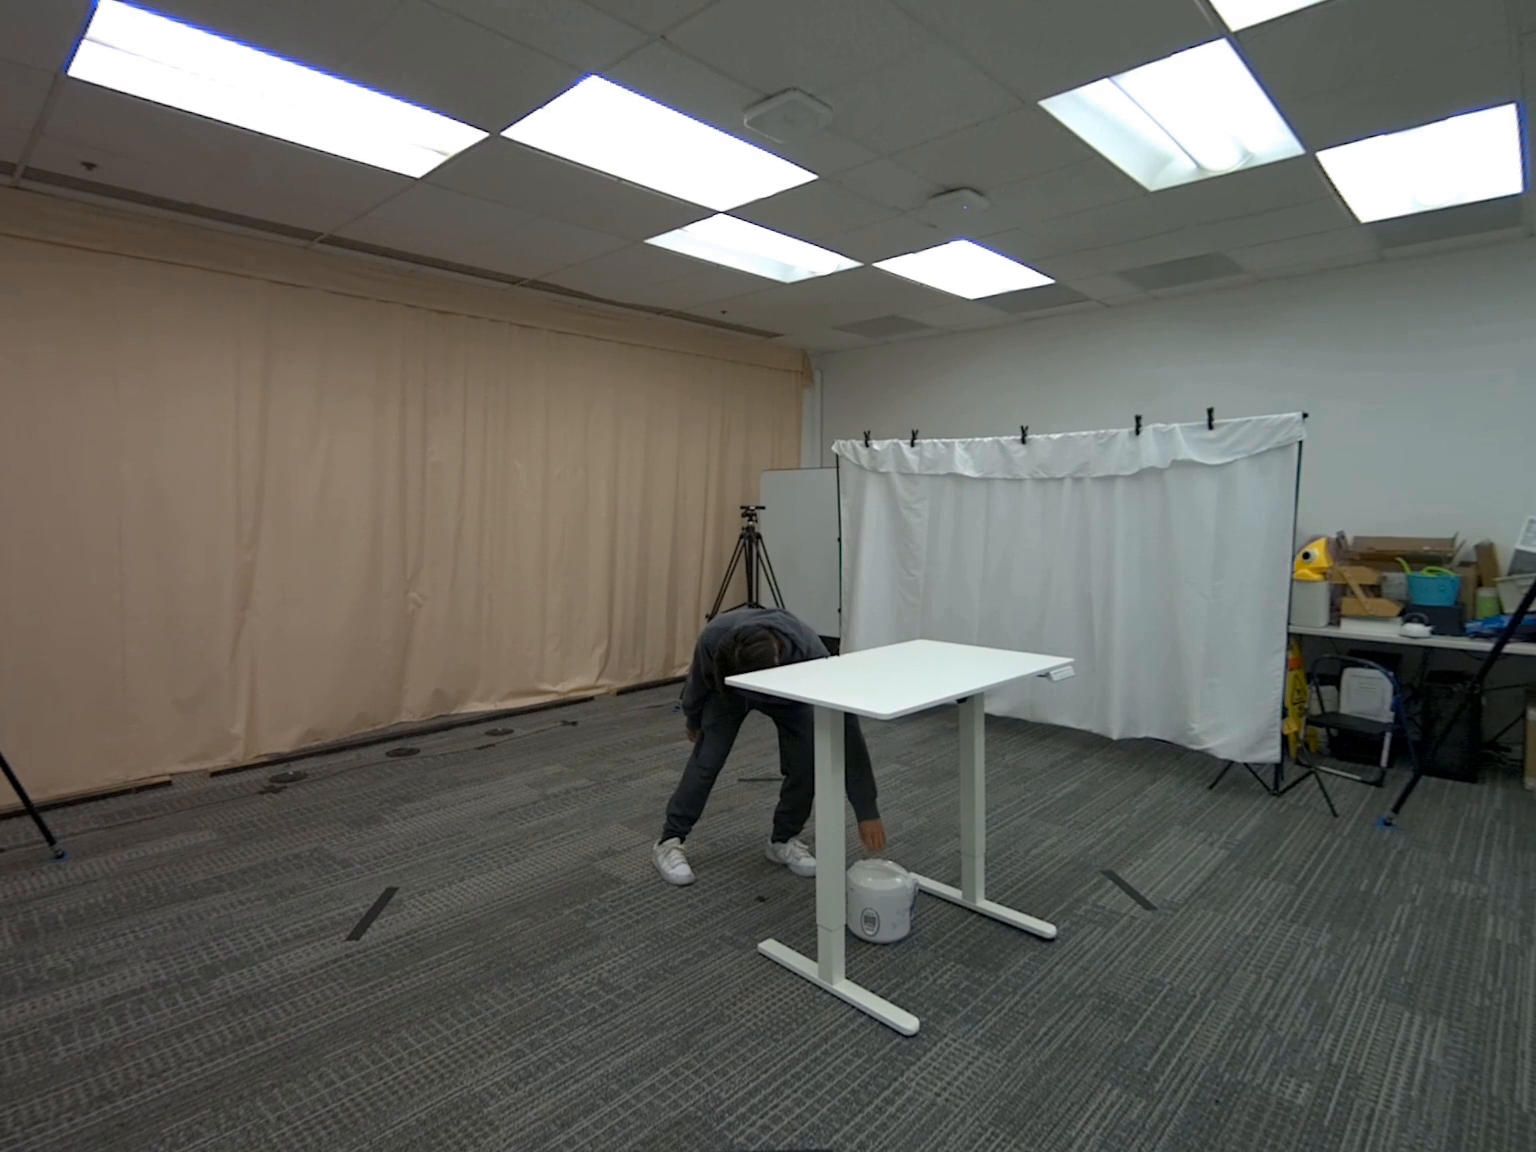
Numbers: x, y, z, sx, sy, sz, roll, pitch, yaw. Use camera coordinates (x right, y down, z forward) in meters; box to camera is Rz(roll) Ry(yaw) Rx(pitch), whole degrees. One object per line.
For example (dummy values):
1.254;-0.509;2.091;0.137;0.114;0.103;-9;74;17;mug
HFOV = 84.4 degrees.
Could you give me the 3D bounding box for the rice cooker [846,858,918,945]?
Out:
0.367;1.045;2.746;0.226;0.232;0.212;1;3;25;rice cooker
